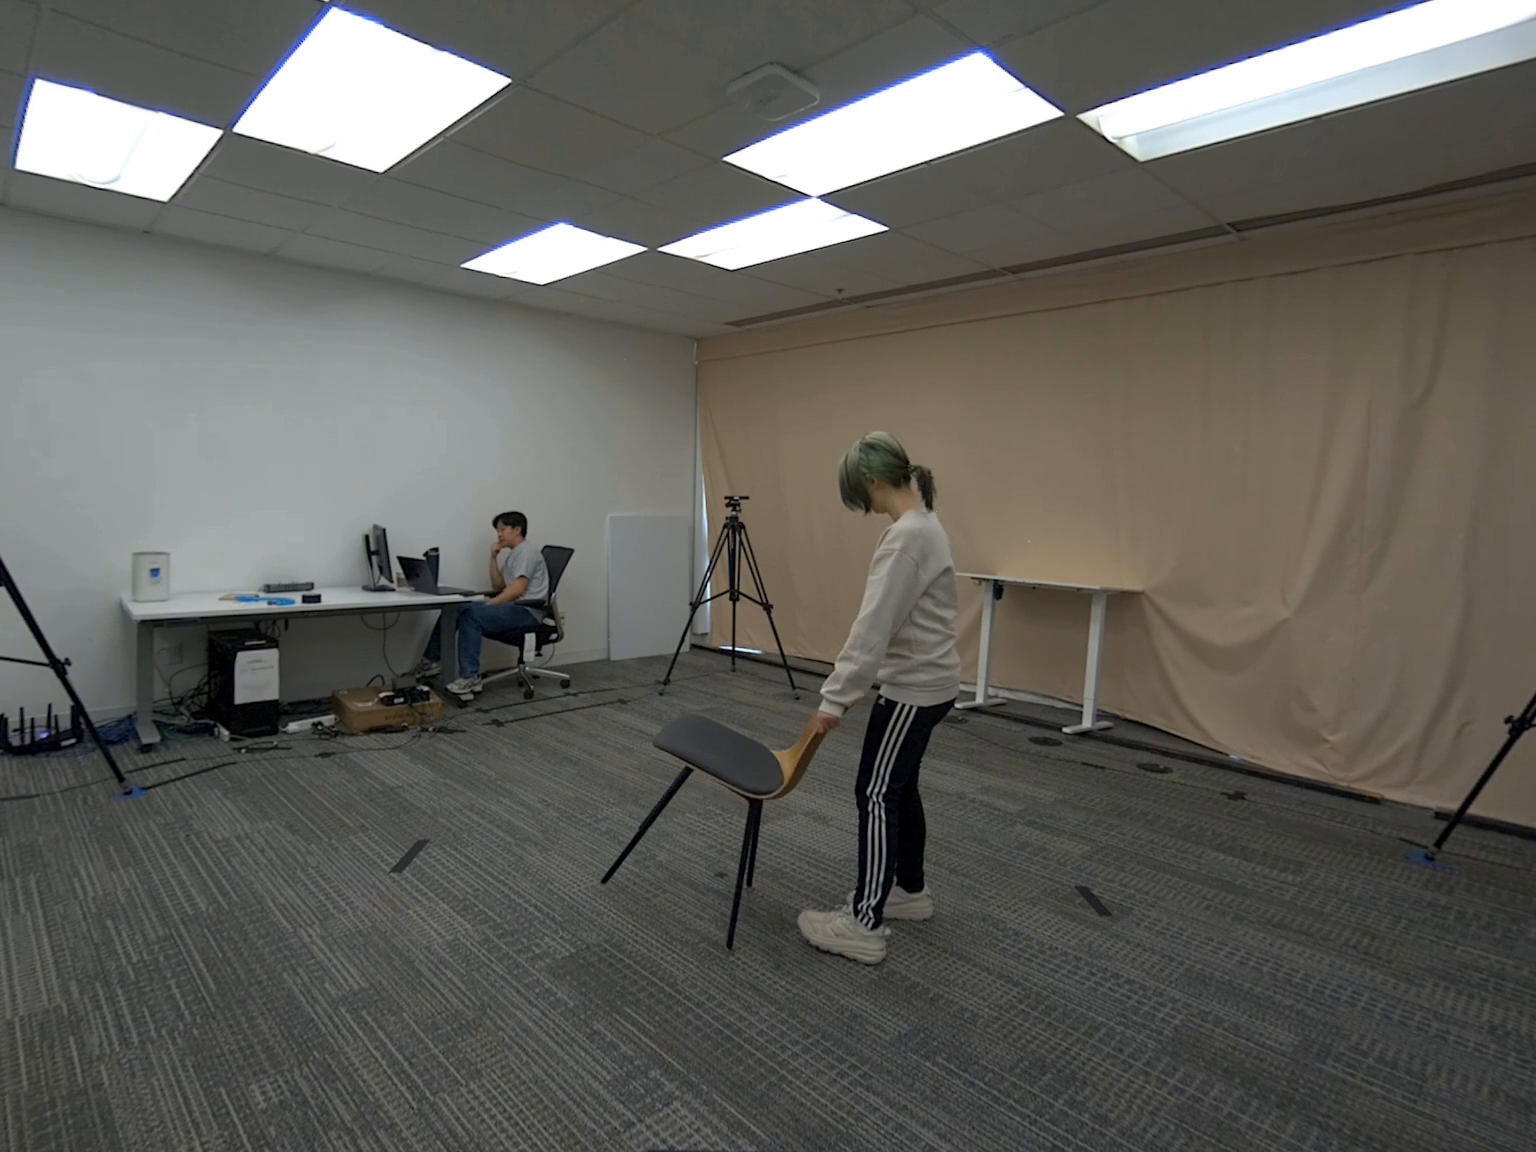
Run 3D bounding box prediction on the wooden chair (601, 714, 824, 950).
[{"bbox_3d":[-0.136,0.649,2.783,0.527,0.875,0.476,29,7,6],"label":"wooden chair"}]
